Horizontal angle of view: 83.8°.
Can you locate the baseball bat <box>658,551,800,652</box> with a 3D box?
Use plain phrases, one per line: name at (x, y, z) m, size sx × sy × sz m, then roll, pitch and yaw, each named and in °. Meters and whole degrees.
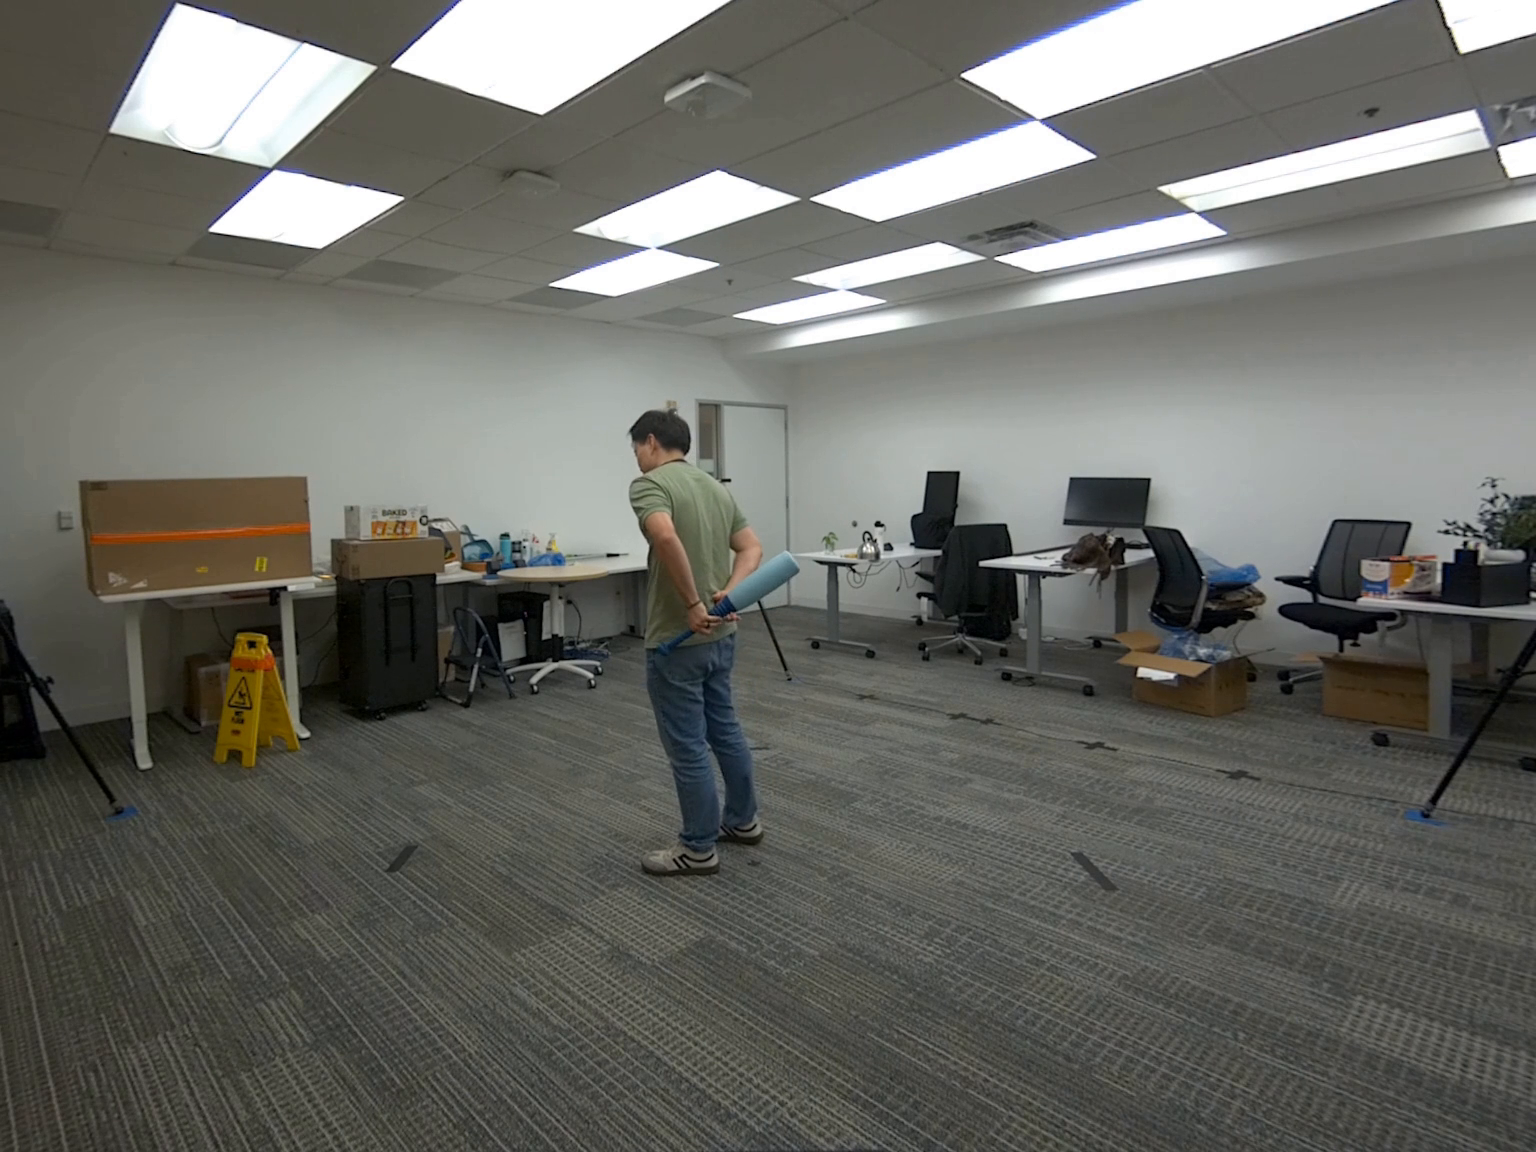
baseball bat at (-0.139, 0.112, 2.827) m, size 0.543 × 0.089 × 0.089 m, roll -36°, pitch 4°, yaw 4°
